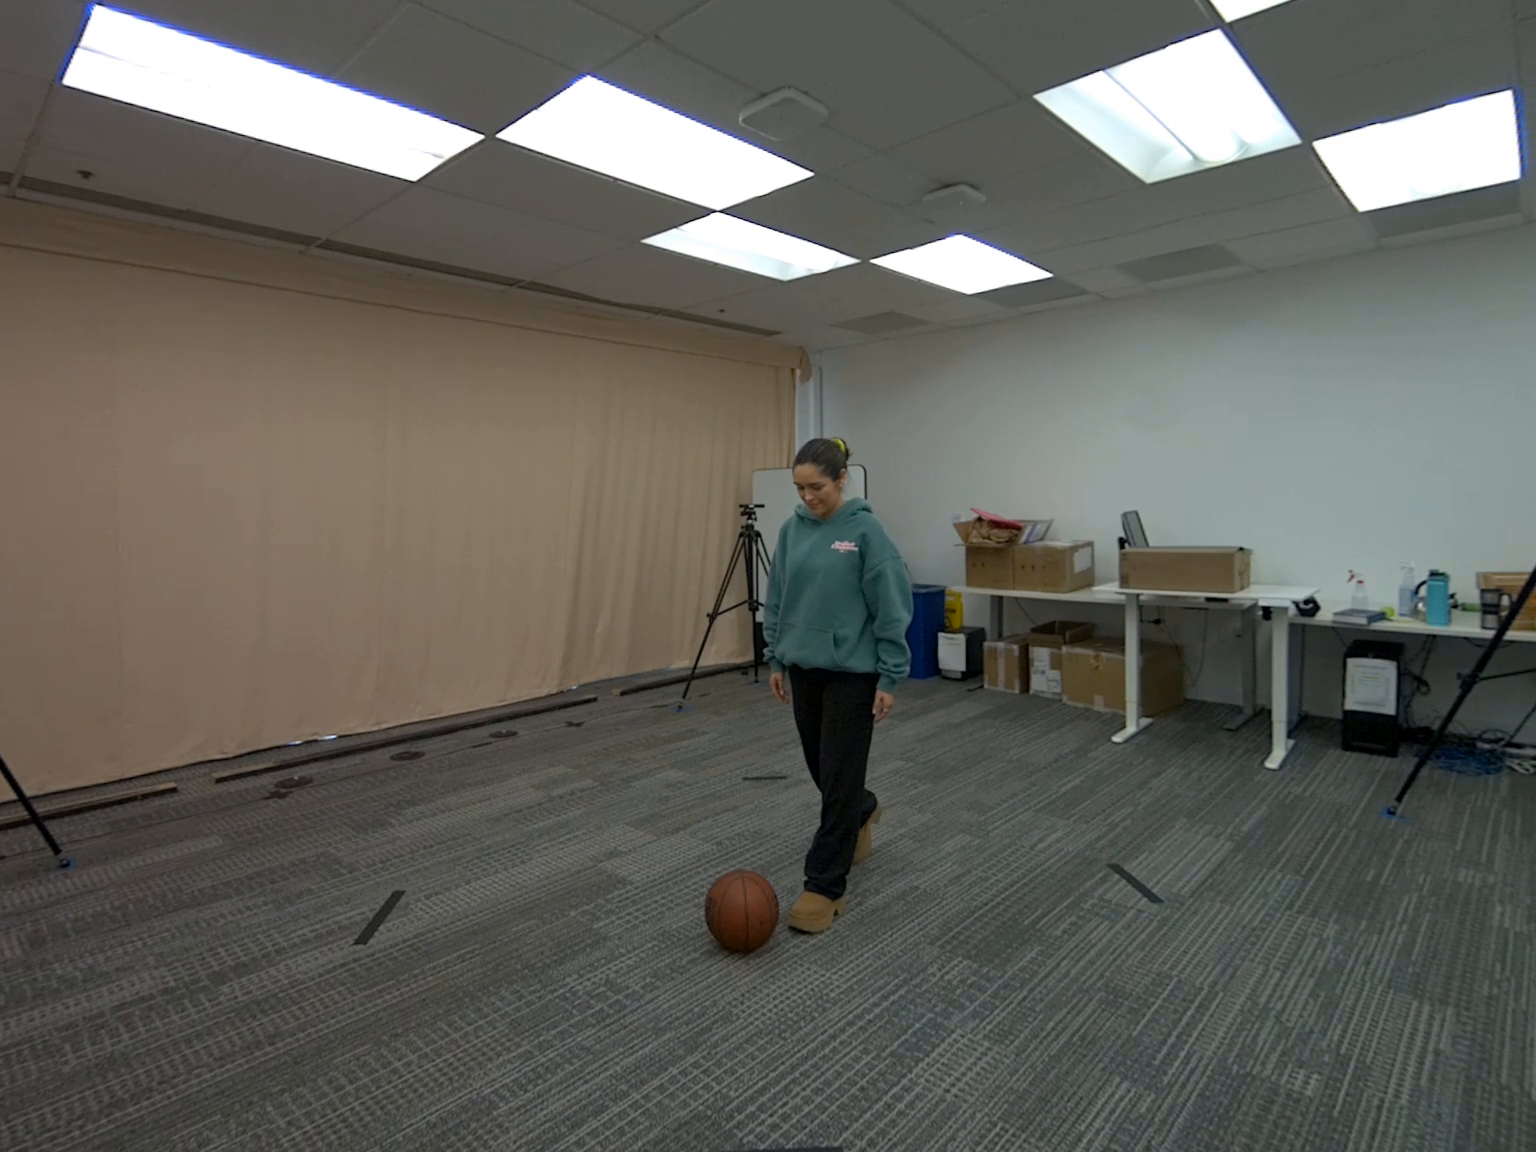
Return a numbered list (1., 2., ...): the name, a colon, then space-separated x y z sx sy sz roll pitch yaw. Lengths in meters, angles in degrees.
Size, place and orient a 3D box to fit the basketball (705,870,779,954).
1. basketball: -0.079 1.050 2.651 0.236 0.235 0.237 -1 4 -2
